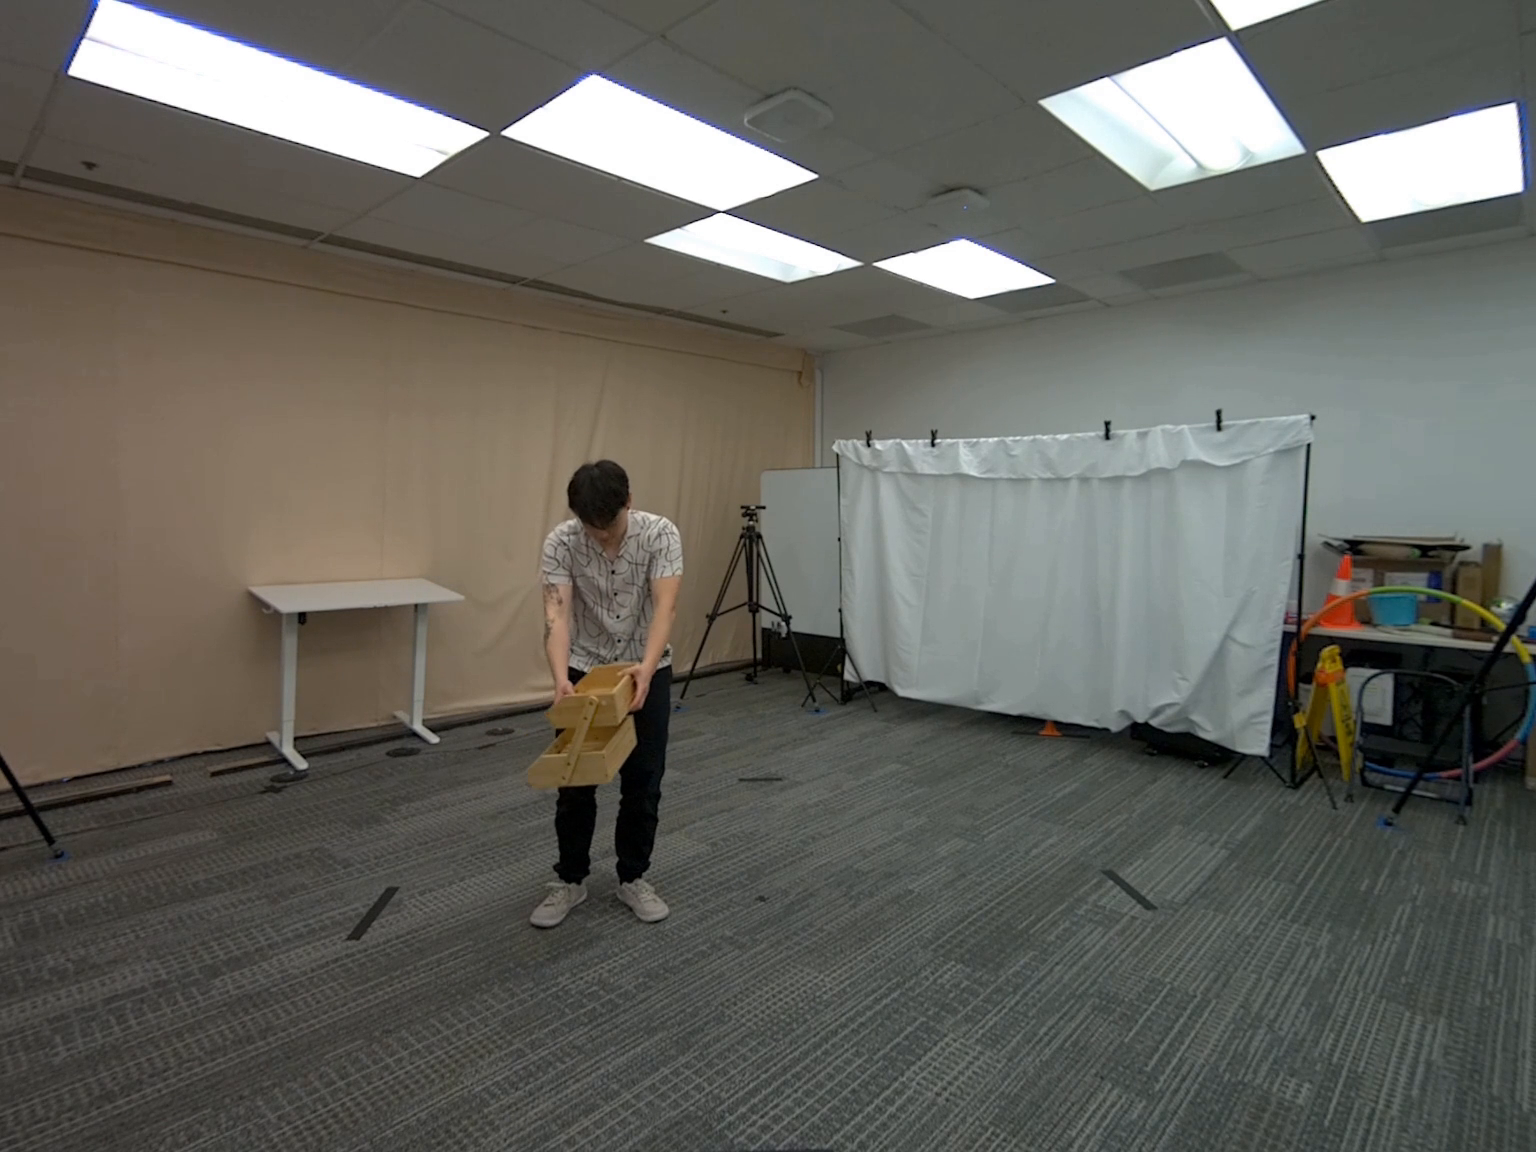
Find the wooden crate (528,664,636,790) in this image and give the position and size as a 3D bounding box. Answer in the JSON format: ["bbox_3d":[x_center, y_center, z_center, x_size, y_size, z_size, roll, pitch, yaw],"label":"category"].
[{"bbox_3d":[-0.548,0.435,2.494,0.305,0.271,0.324,-6,9,8],"label":"wooden crate"}]
